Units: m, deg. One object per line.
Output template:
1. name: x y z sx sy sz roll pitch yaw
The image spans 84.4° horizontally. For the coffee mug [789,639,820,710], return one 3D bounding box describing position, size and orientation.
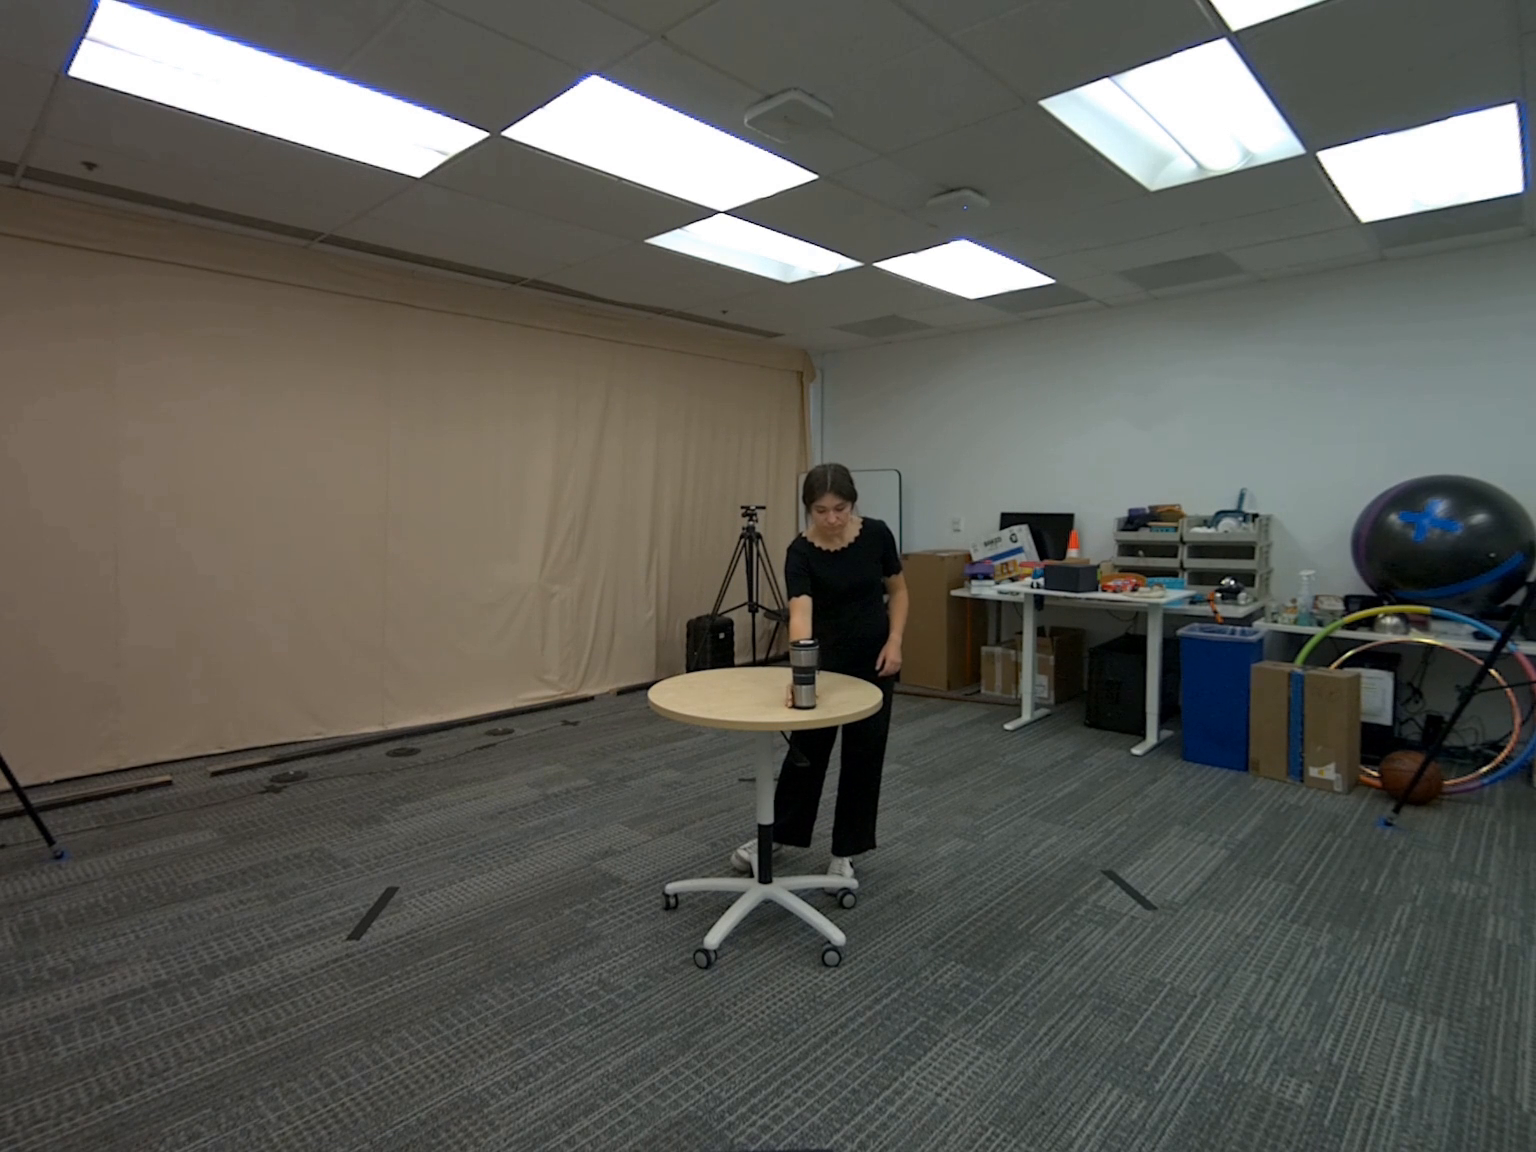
1. coffee mug: 0.136 0.294 2.556 0.119 0.203 0.090 -5 2 -32
